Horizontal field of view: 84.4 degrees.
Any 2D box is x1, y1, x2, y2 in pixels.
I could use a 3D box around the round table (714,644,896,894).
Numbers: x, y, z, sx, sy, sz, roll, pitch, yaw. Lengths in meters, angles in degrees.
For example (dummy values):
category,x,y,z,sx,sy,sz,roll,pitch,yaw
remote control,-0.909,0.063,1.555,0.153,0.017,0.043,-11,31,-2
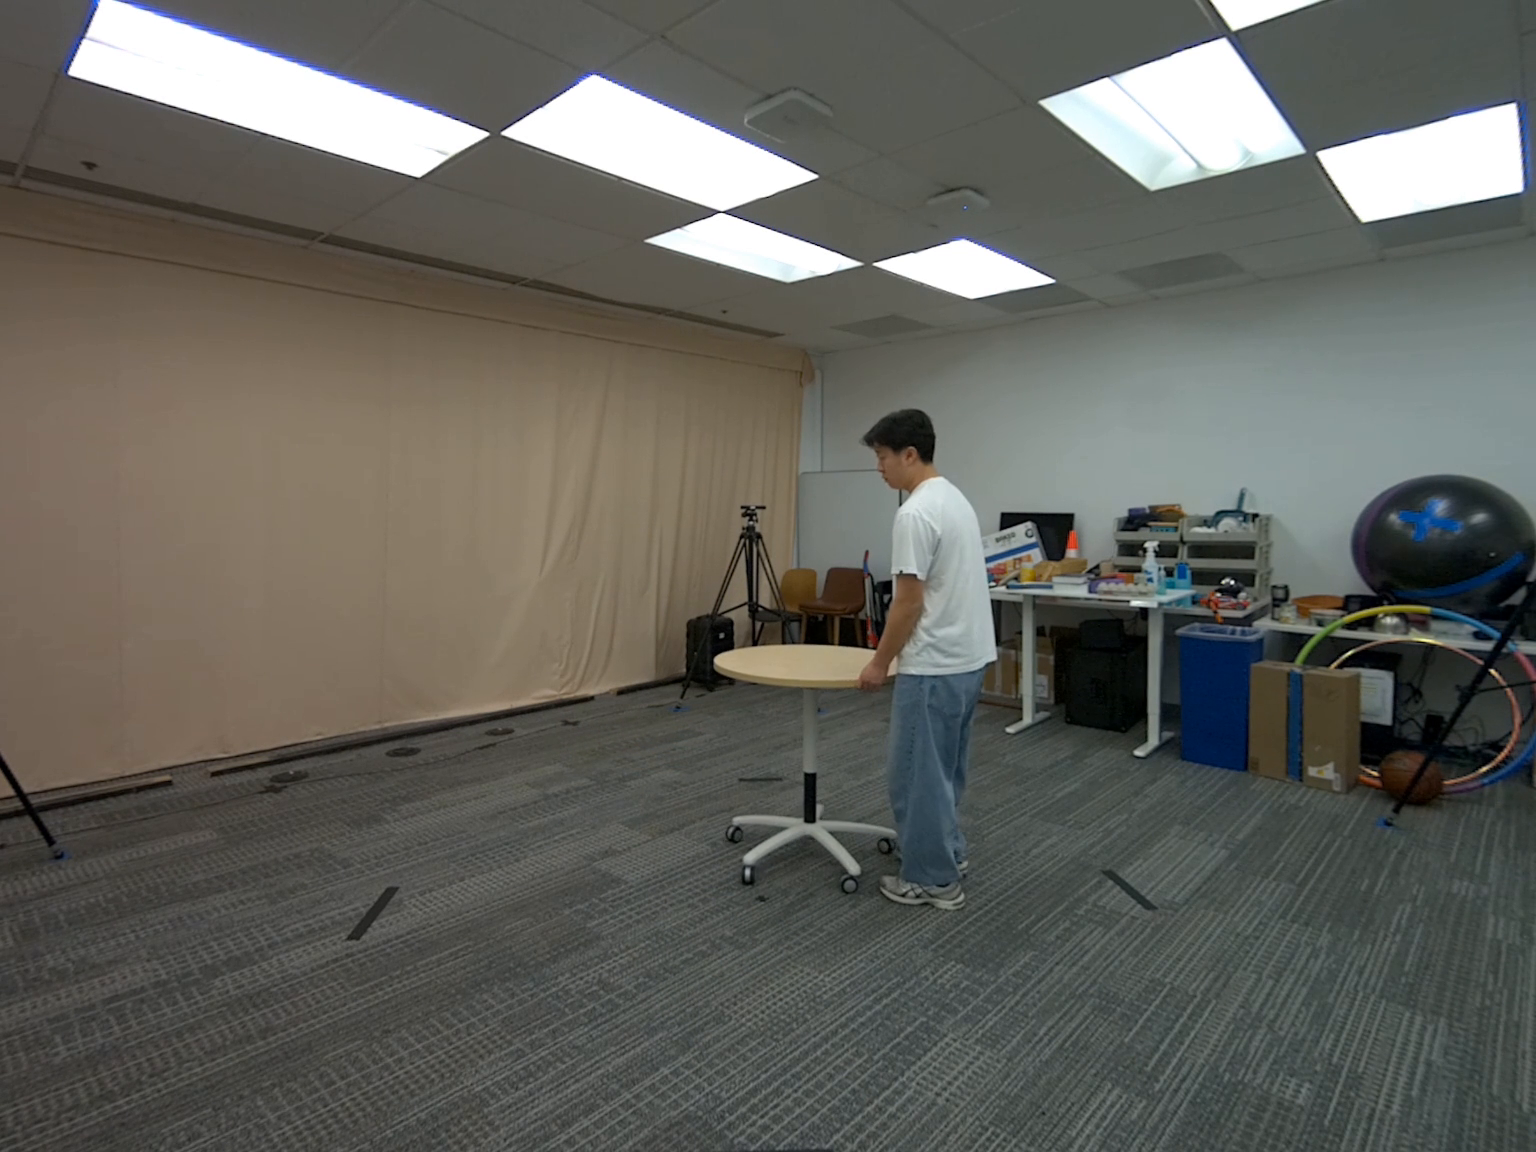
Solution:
category,x,y,z,sx,sy,sz,roll,pitch,yaw
round table,0.166,0.723,3.319,0.763,0.792,0.766,0,3,-2
